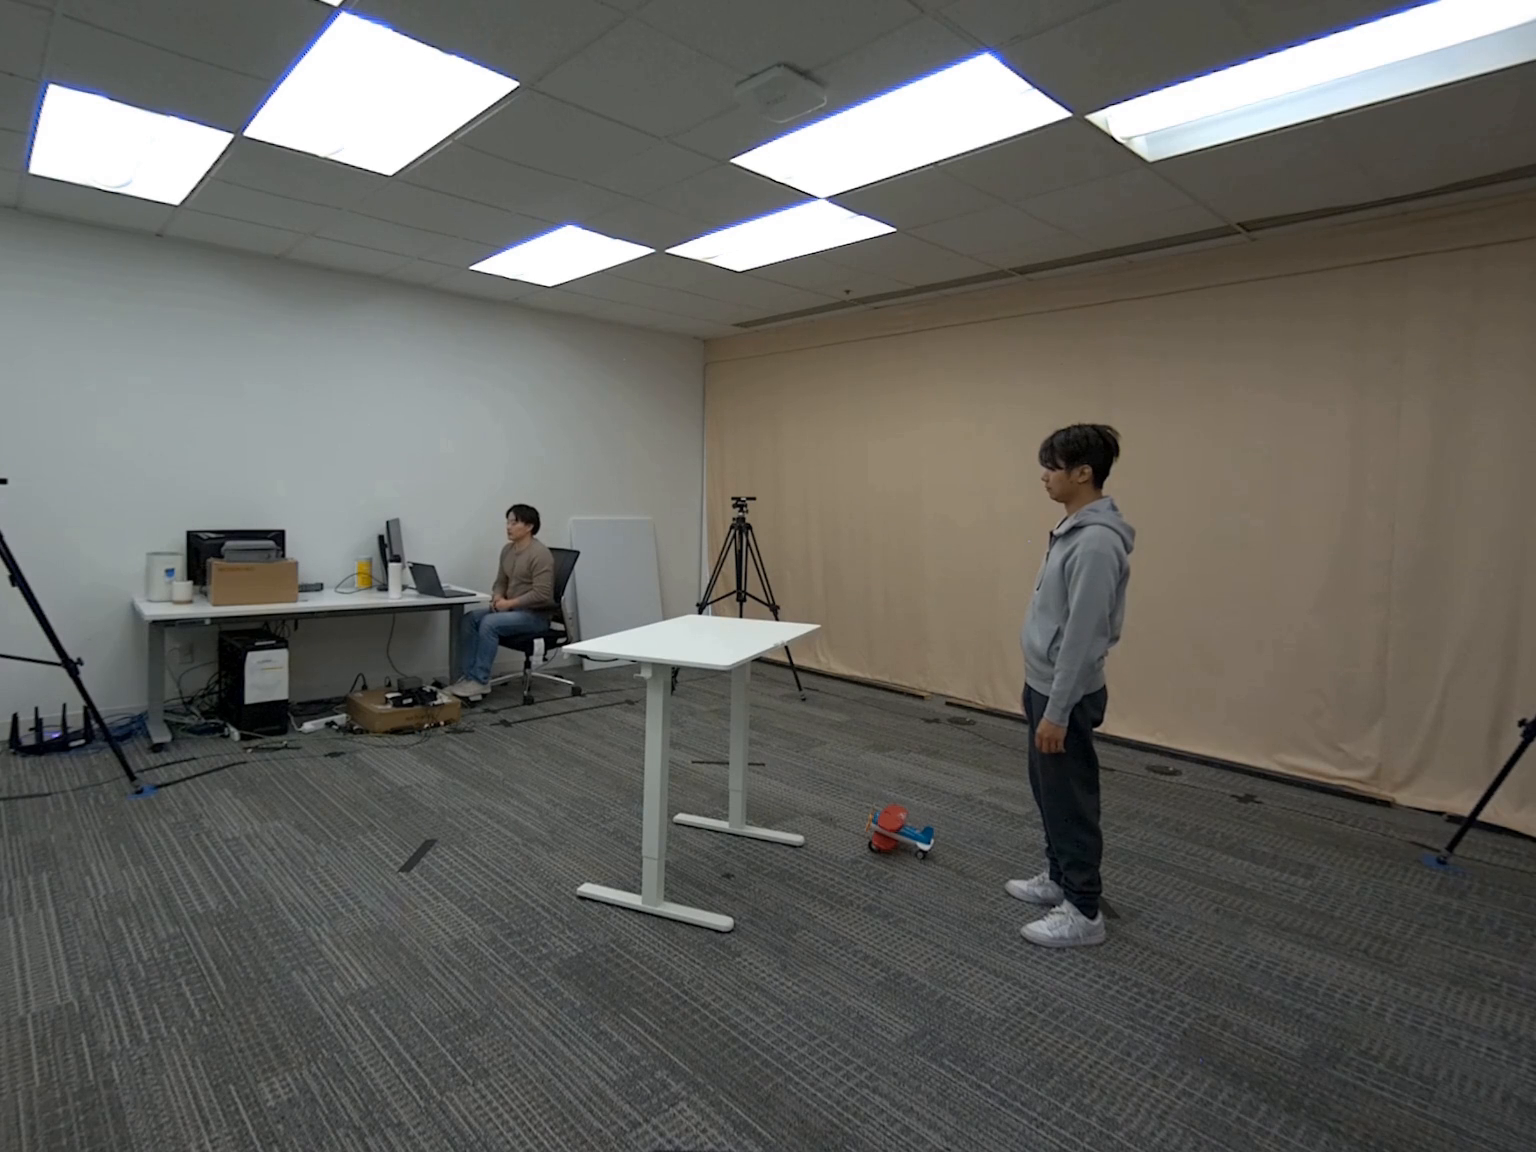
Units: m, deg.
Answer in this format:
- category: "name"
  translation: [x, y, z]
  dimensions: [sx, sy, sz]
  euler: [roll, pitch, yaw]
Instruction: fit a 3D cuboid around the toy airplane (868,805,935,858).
- category: "toy airplane"
  translation: [0.510, 1.022, 3.367]
  dimensions: [0.258, 0.156, 0.252]
  euler: [1, 4, -4]
